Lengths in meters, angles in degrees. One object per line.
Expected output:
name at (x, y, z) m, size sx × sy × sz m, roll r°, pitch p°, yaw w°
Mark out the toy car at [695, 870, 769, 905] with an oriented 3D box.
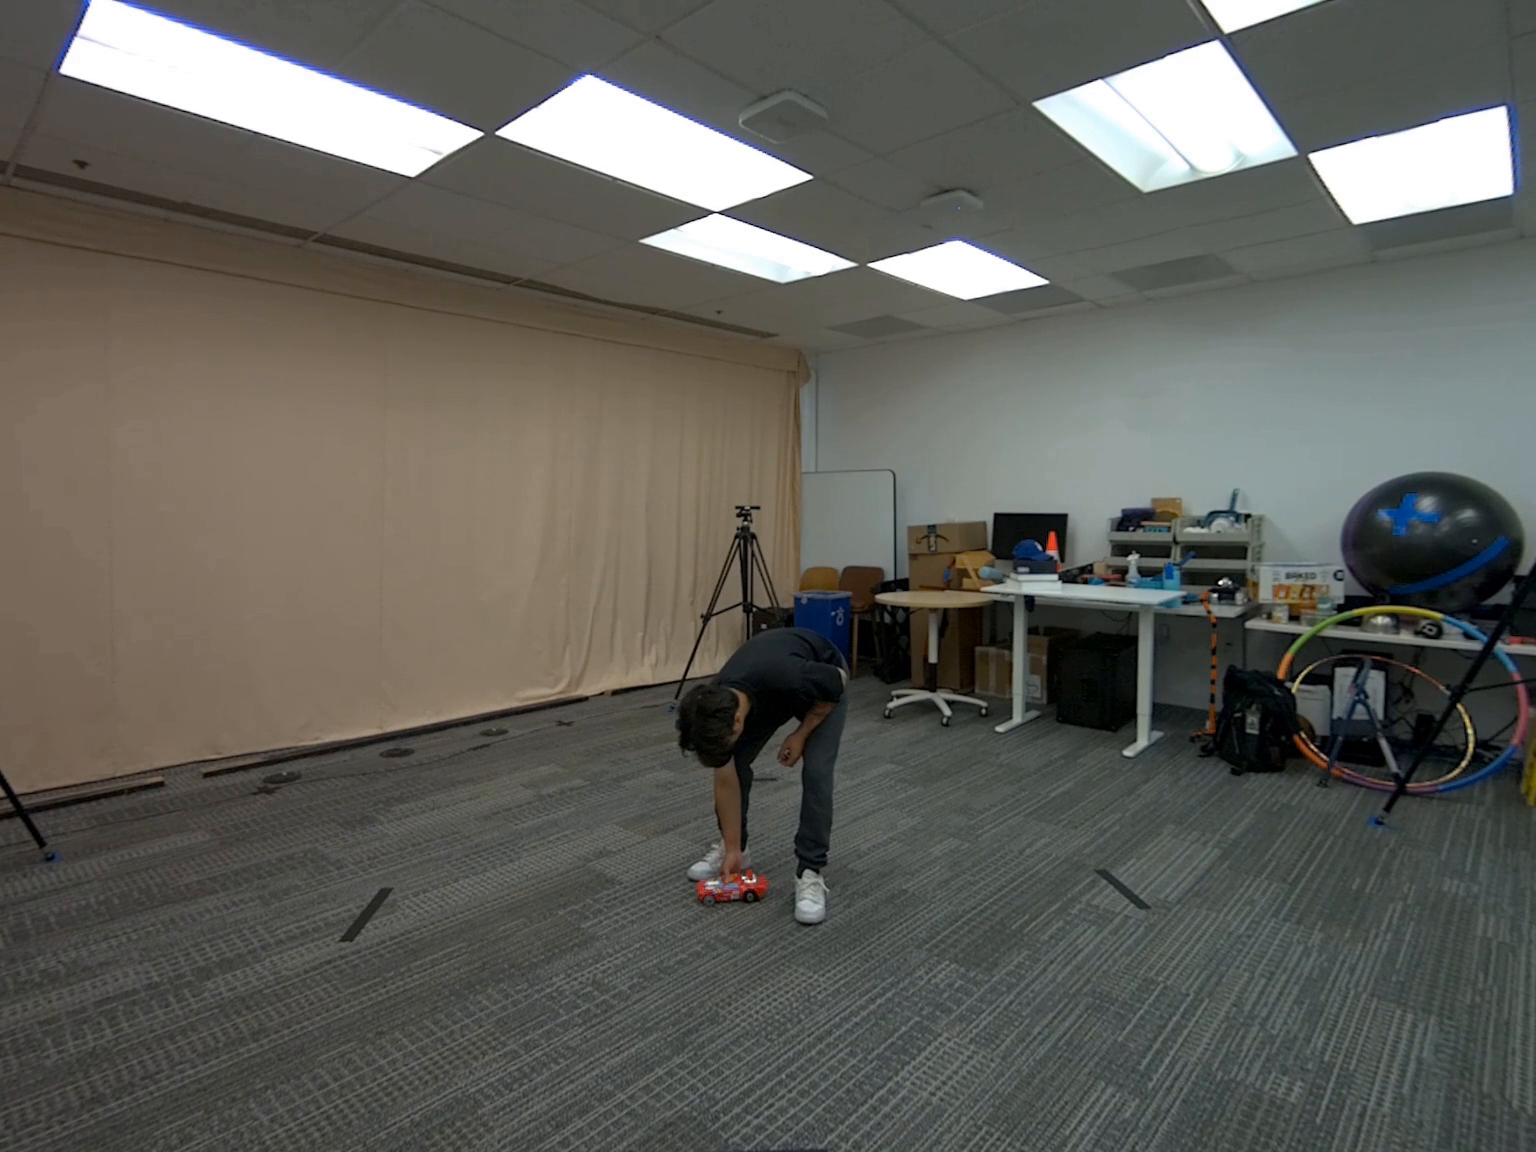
toy car at (-0.119, 1.119, 2.995) m, size 0.253 × 0.083 × 0.132 m, roll -13°, pitch 6°, yaw -8°
